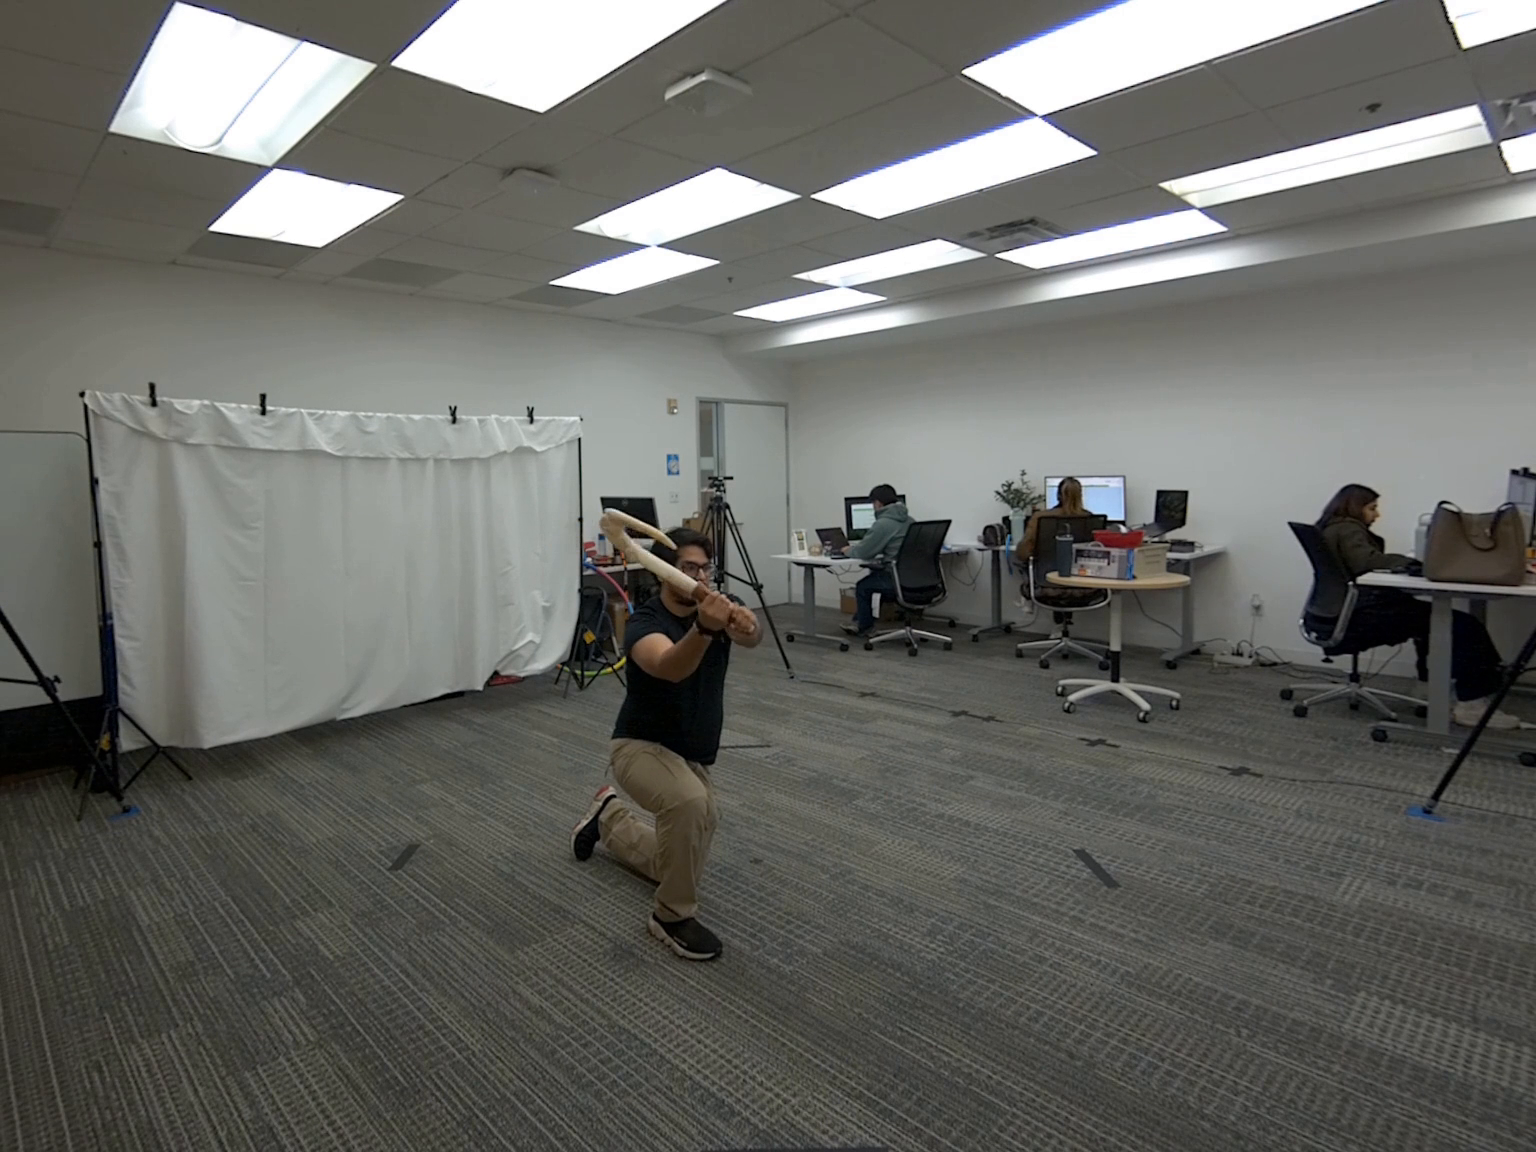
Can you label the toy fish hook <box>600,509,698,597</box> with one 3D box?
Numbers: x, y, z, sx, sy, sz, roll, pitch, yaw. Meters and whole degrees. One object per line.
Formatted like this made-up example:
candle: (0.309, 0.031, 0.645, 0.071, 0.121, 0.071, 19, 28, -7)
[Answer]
toy fish hook: (-0.213, 0.002, 2.204, 0.502, 0.048, 0.226, 36, -19, -7)
